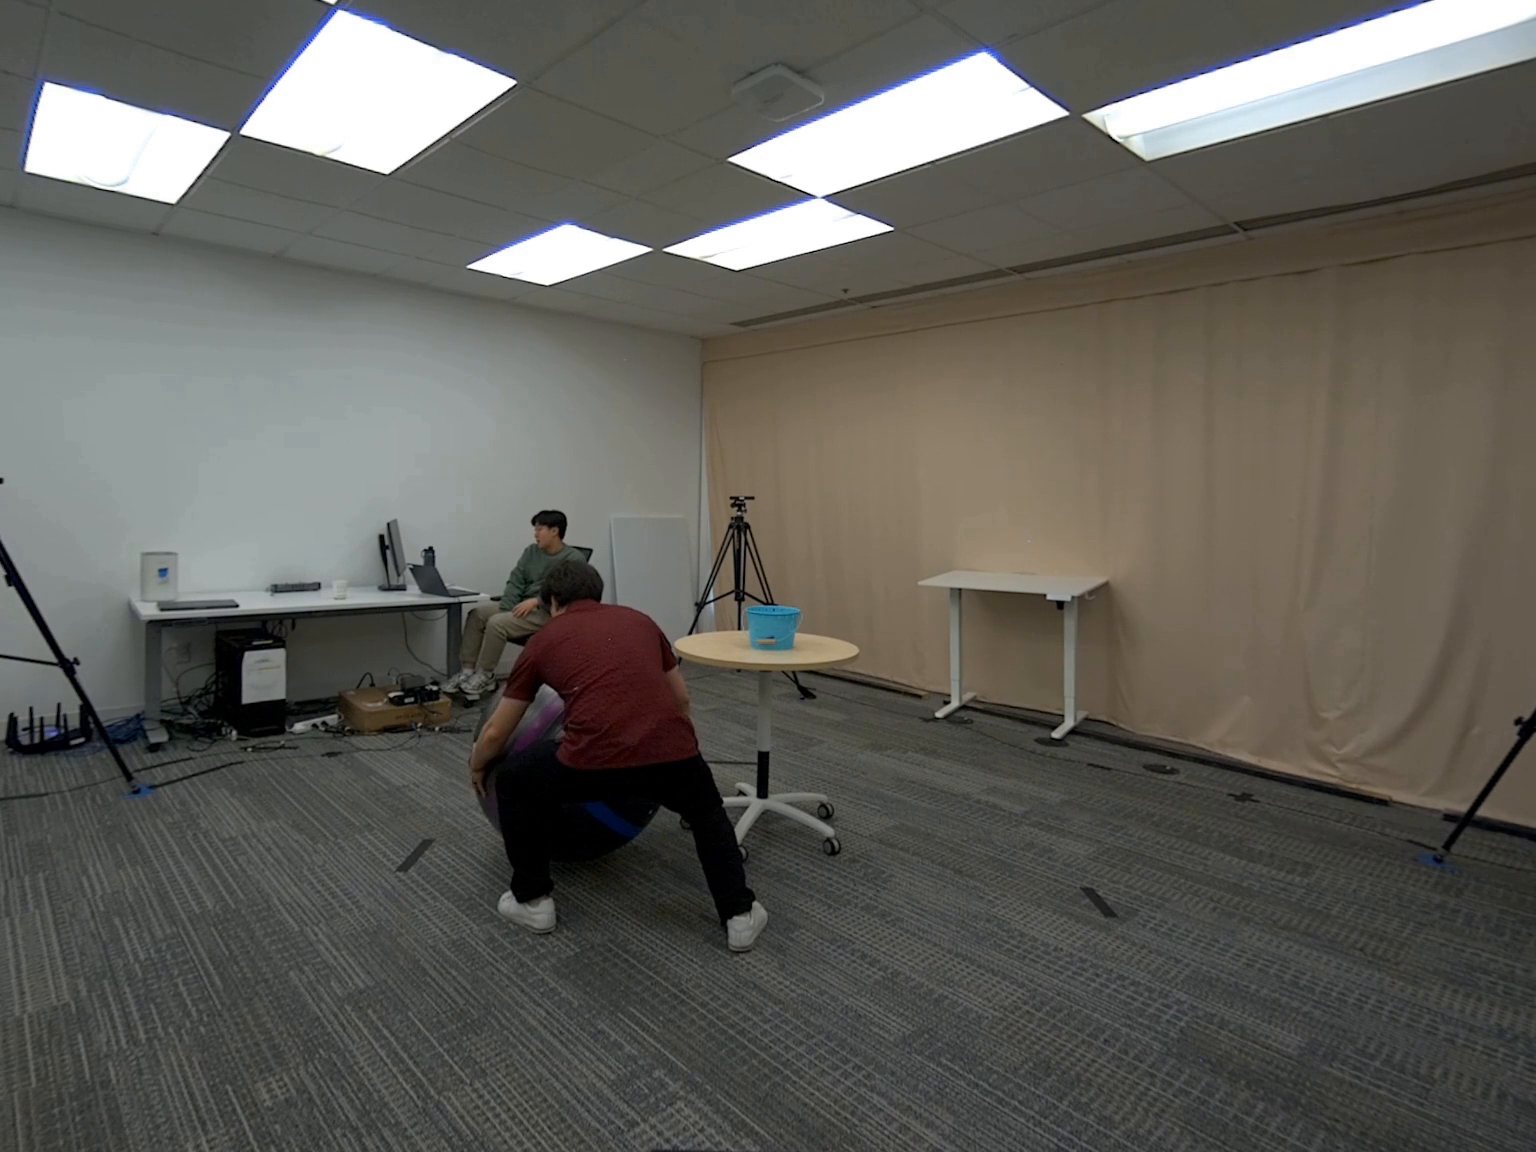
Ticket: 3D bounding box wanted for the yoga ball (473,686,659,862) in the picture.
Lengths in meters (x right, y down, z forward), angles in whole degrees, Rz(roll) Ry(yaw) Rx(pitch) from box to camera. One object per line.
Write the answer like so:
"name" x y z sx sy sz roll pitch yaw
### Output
"yoga ball" -0.747 0.689 3.193 0.757 0.756 0.761 1 4 -1
